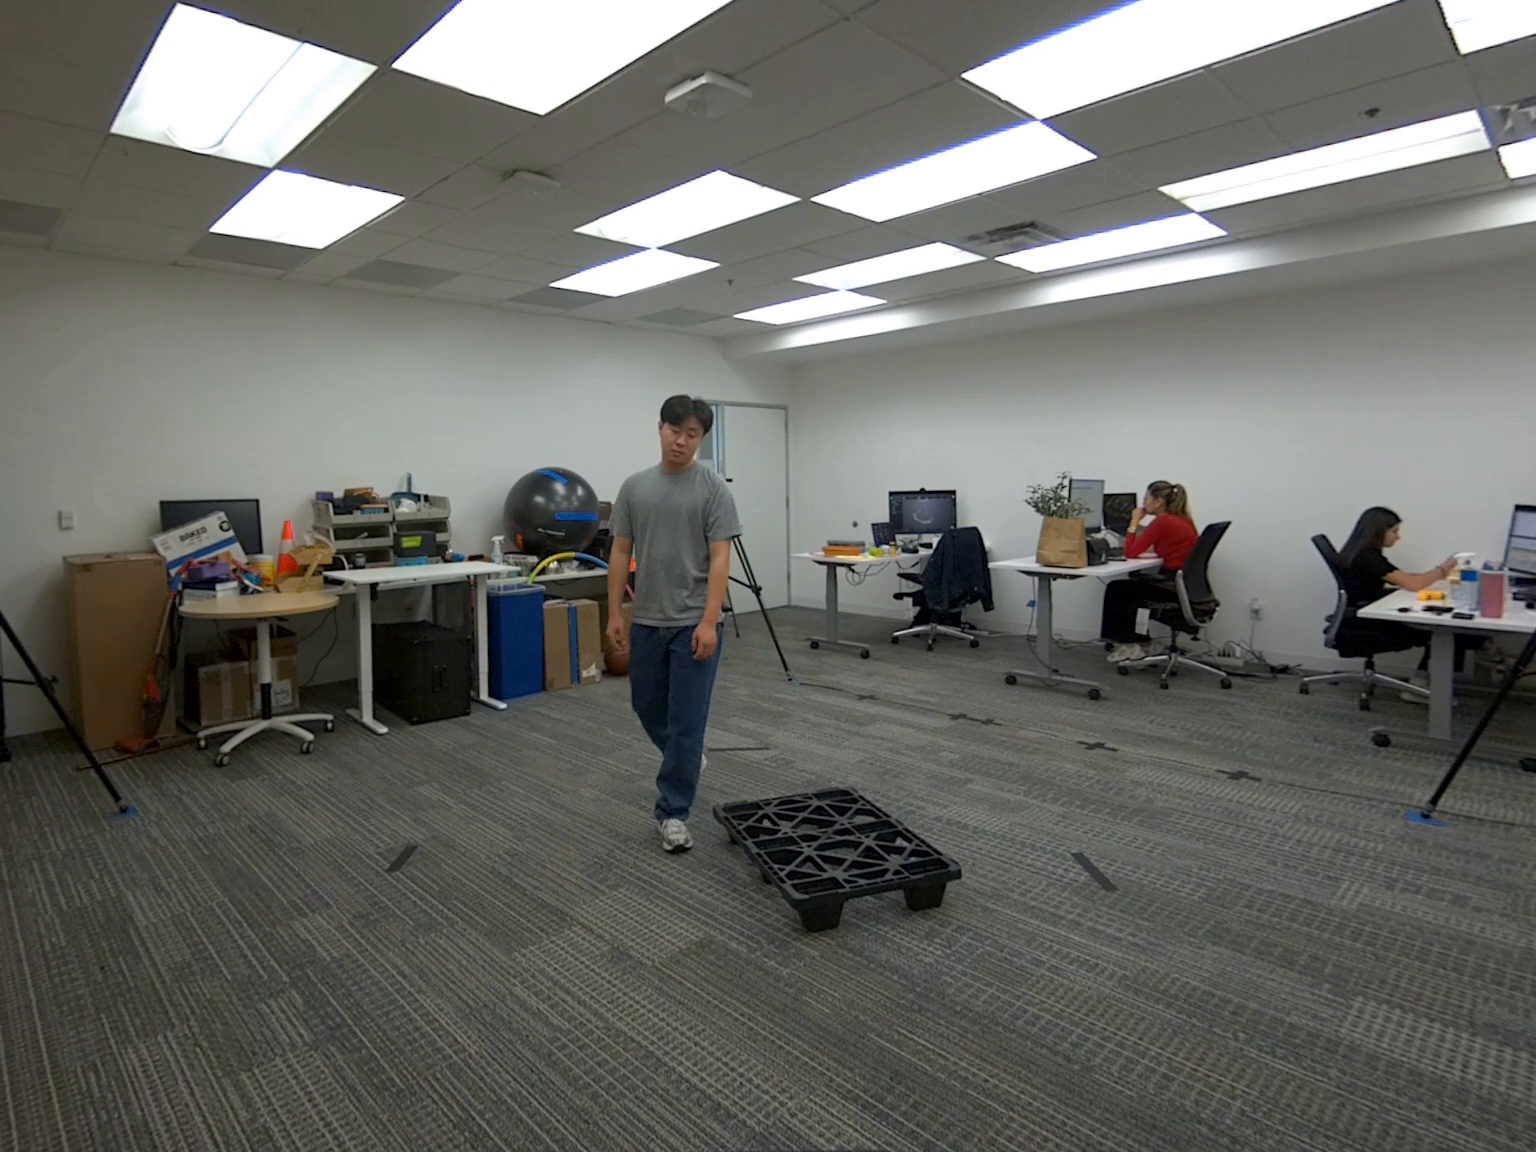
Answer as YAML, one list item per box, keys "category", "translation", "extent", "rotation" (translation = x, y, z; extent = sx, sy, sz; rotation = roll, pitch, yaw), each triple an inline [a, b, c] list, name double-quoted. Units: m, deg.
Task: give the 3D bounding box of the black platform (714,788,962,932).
- category: "black platform"
  translation: [0.210, 0.982, 3.029]
  extent: [0.595, 0.142, 0.823]
  rotation: [-4, 7, -20]
